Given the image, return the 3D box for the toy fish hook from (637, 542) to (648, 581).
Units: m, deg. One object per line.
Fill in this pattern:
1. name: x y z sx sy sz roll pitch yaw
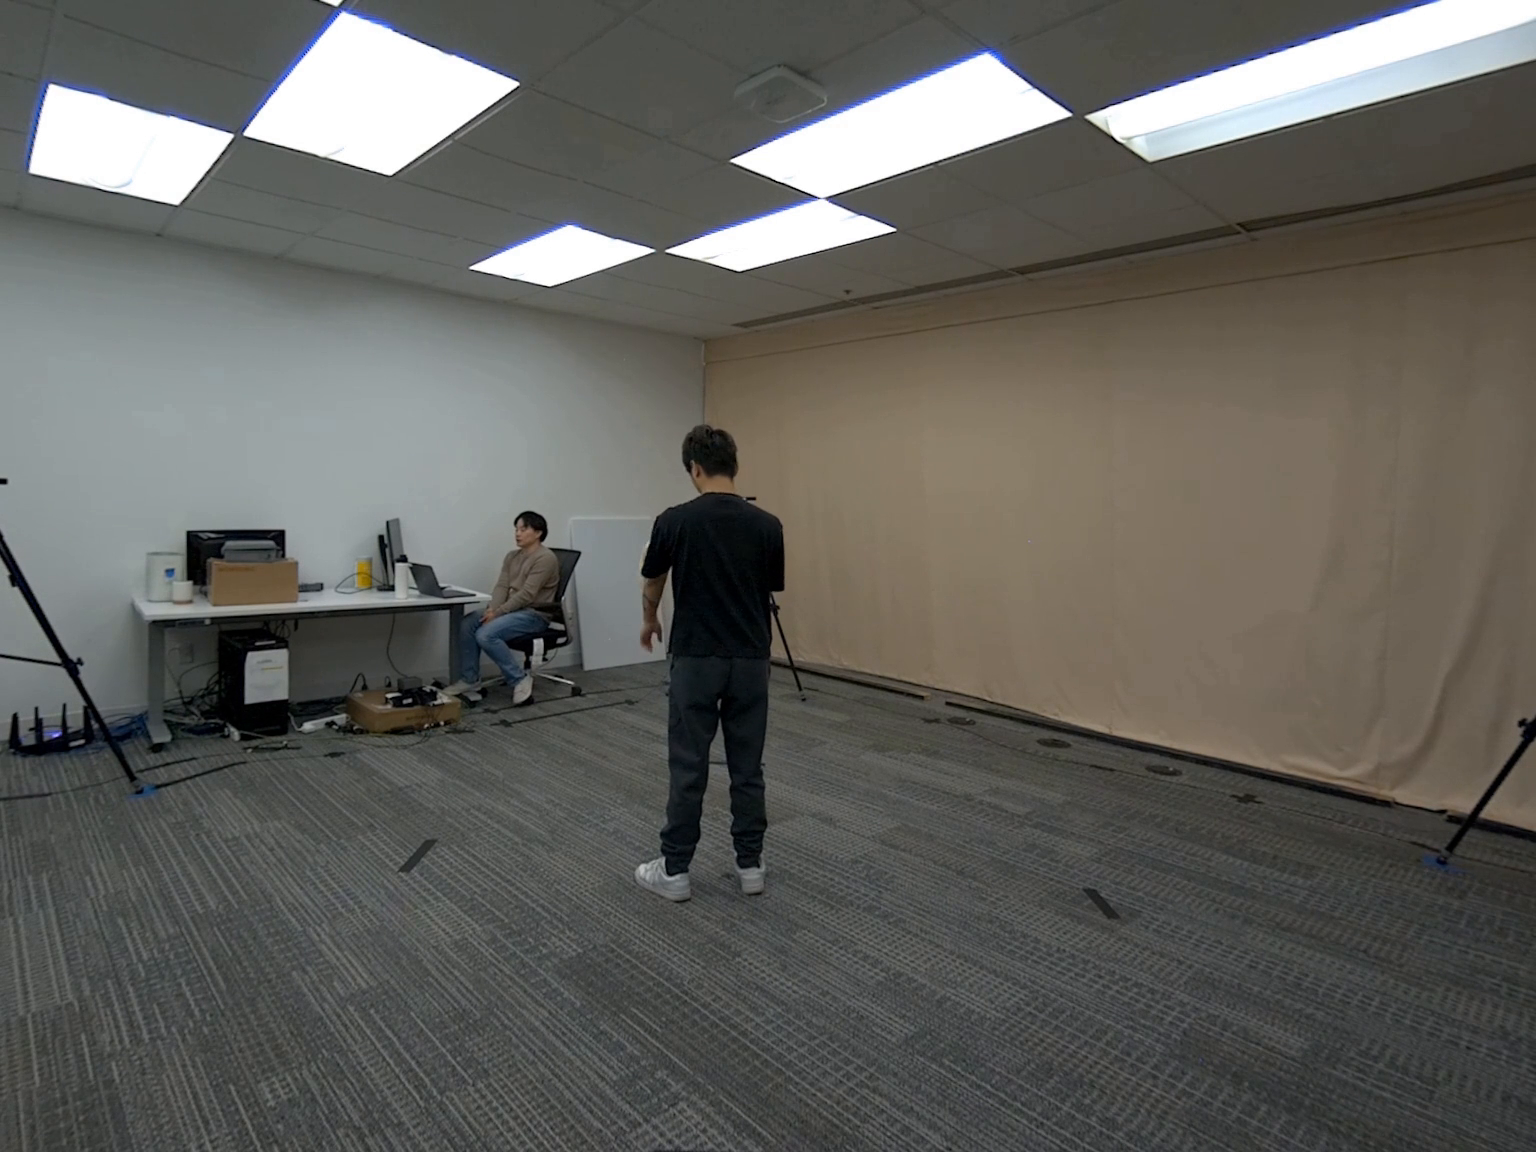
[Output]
1. toy fish hook: -0.380 0.102 3.312 0.226 0.514 0.047 -21 -17 12
